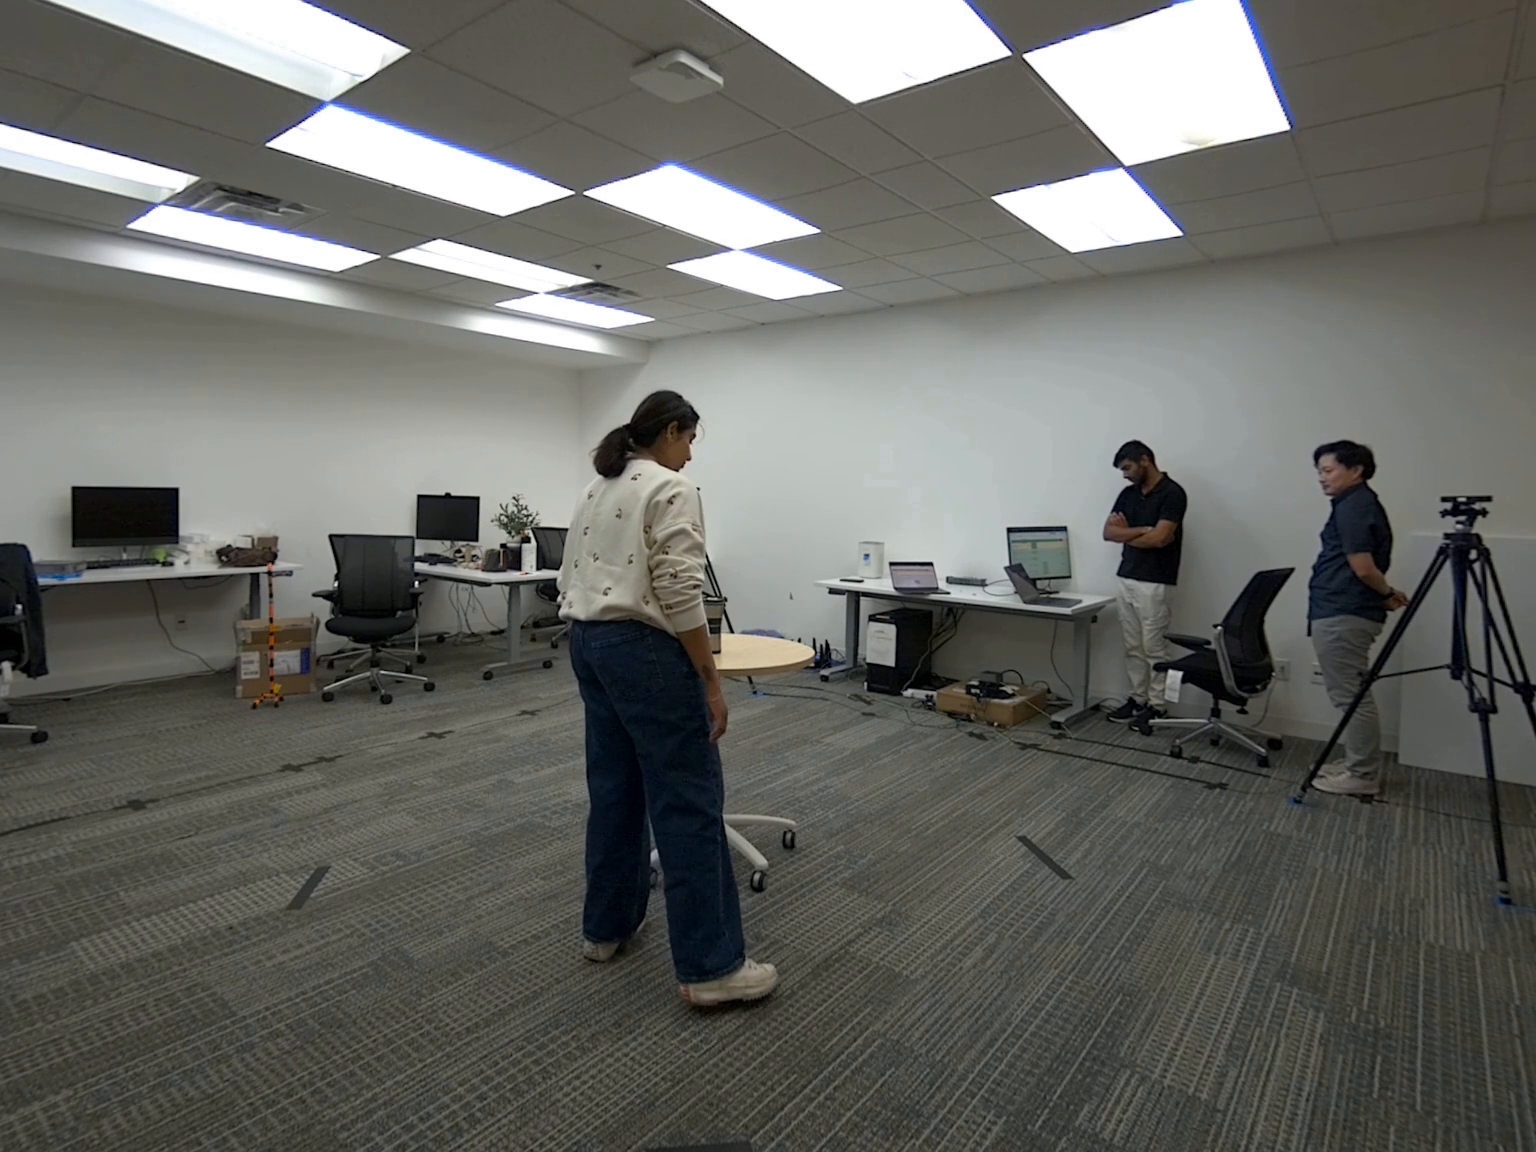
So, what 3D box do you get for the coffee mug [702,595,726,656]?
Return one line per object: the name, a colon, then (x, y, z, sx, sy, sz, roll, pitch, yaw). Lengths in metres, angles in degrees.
coffee mug: (-0.201, 0.180, 3.149, 0.090, 0.202, 0.119, 0, 6, 28)
